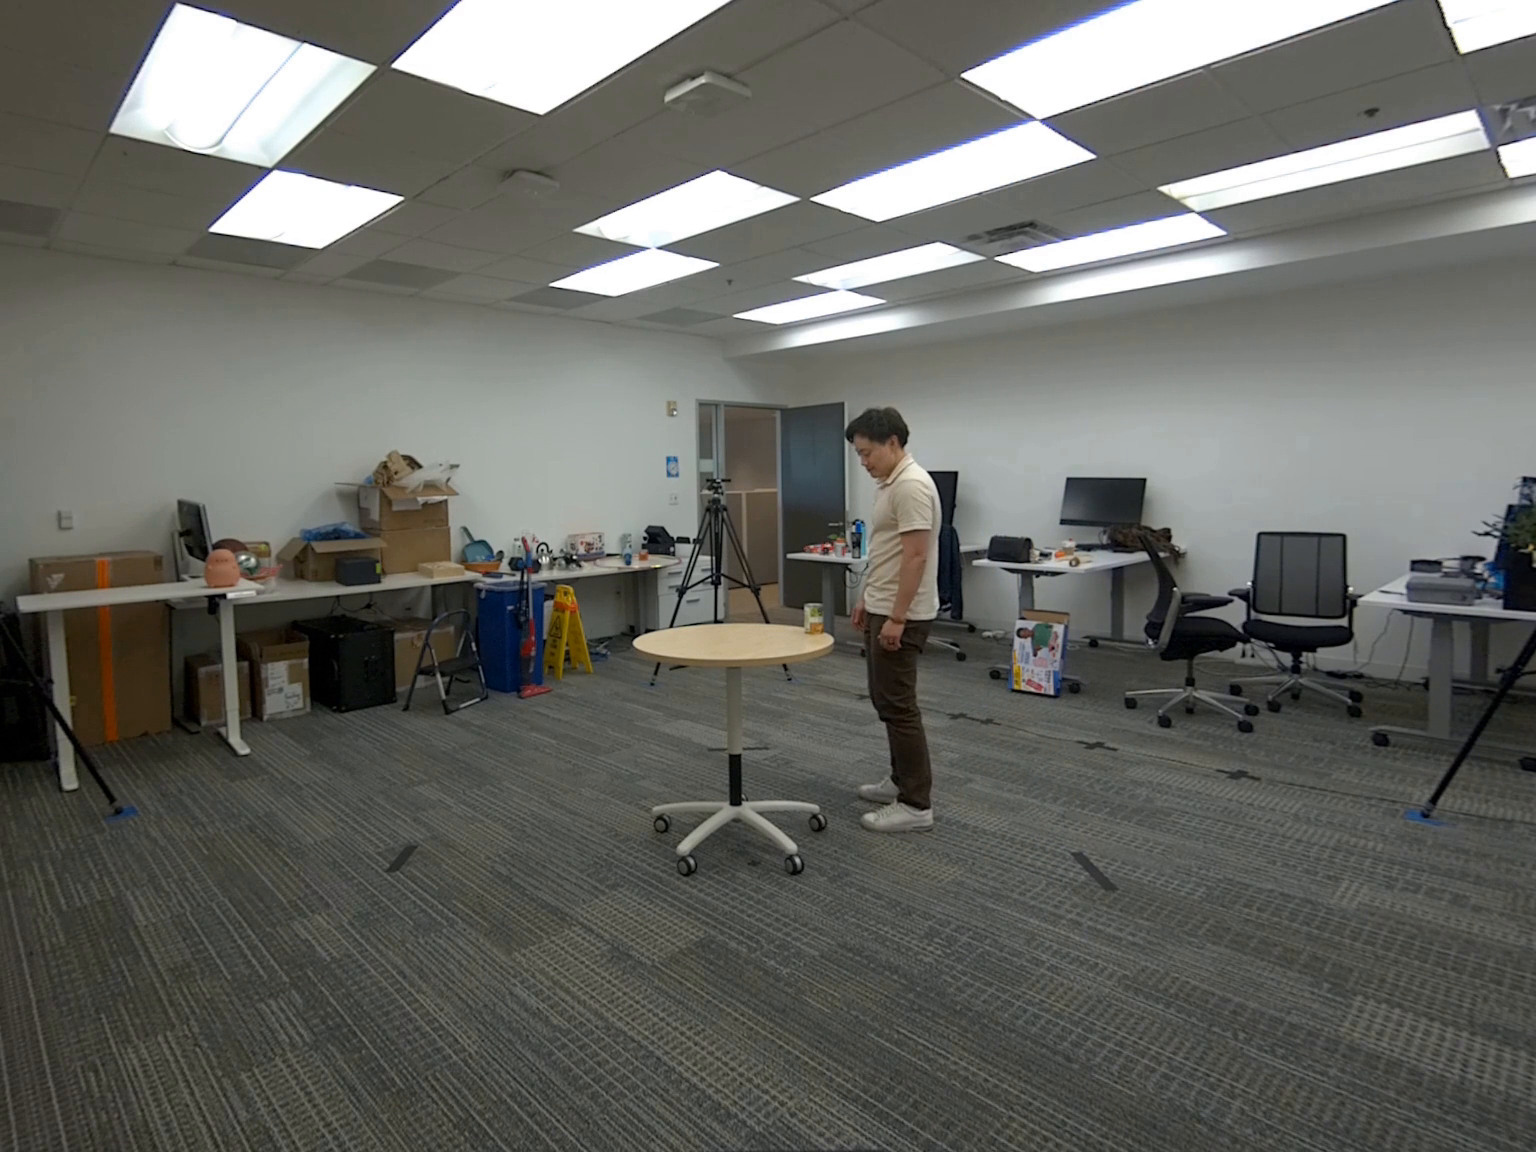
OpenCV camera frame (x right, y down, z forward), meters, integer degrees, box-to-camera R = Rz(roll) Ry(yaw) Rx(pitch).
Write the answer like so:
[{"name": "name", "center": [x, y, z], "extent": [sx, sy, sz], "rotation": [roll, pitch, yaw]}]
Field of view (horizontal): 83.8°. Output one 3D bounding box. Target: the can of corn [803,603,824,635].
[{"name": "can of corn", "center": [0.183, 0.169, 3.386], "extent": [0.074, 0.111, 0.074], "rotation": [0, 1, -2]}]
